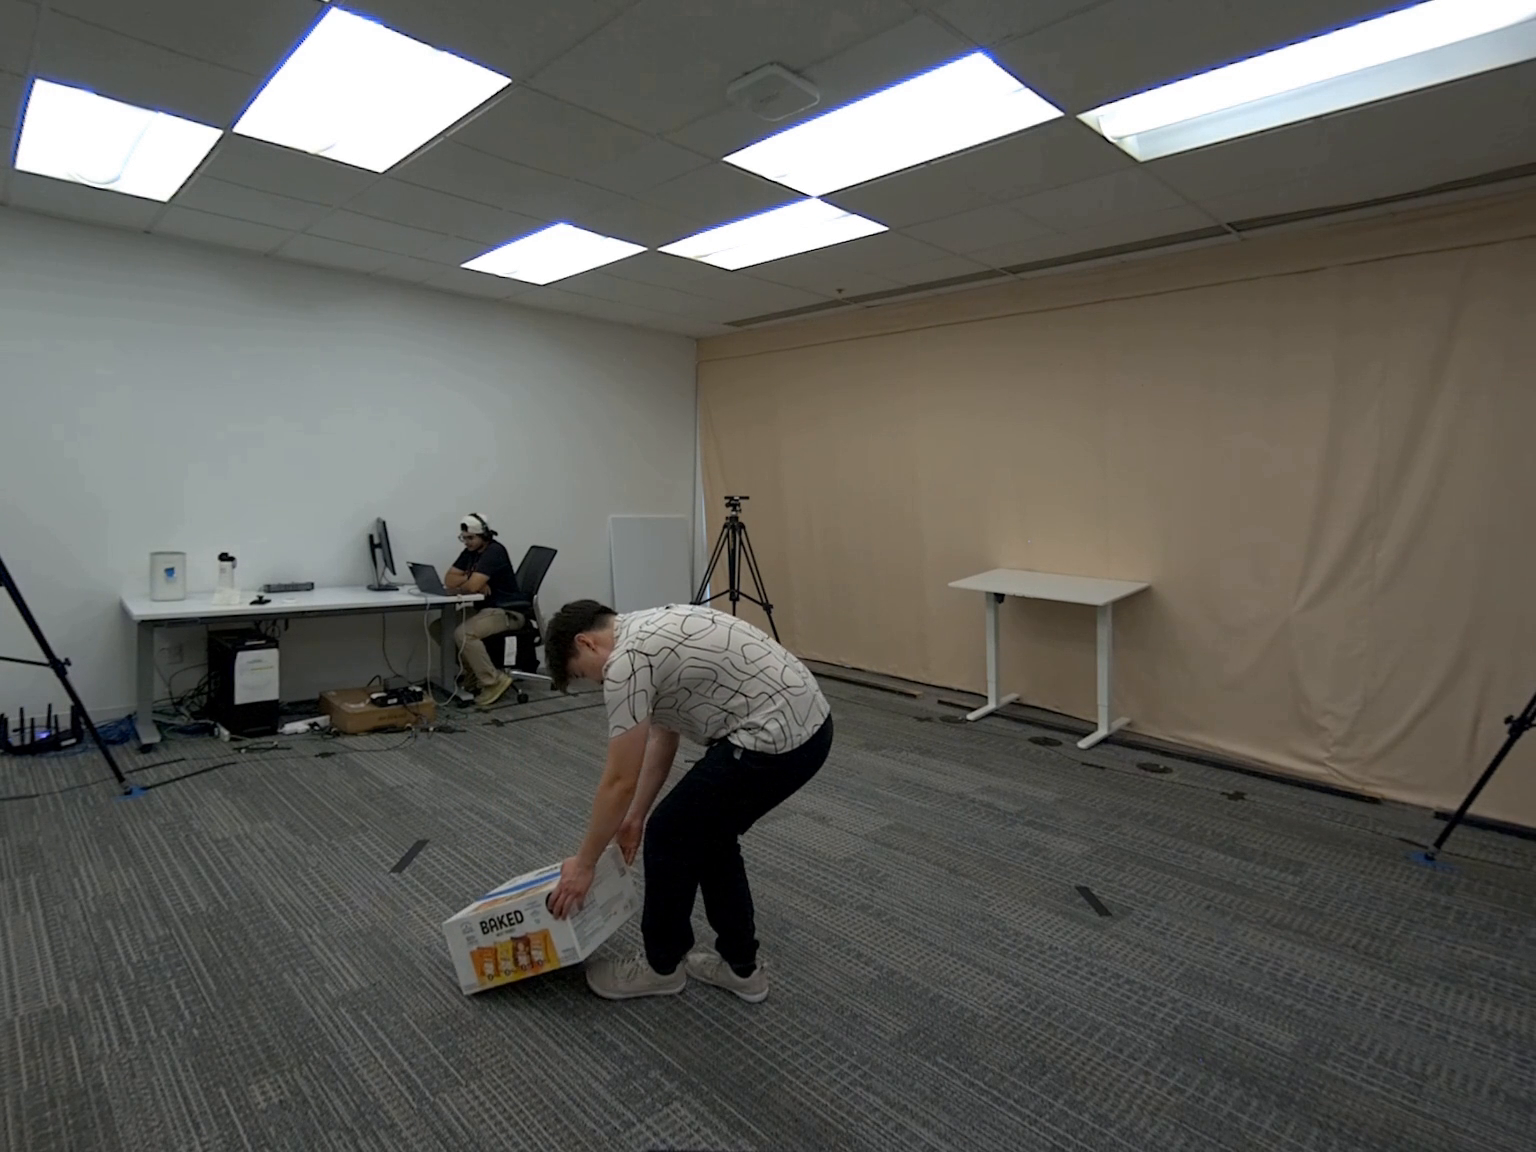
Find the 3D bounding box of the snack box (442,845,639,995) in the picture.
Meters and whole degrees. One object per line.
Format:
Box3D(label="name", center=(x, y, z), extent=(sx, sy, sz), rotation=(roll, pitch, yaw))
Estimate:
Box3D(label="snack box", center=(-0.641, 0.977, 2.410), extent=(0.408, 0.207, 0.336), rotation=(-24, -5, 18))
